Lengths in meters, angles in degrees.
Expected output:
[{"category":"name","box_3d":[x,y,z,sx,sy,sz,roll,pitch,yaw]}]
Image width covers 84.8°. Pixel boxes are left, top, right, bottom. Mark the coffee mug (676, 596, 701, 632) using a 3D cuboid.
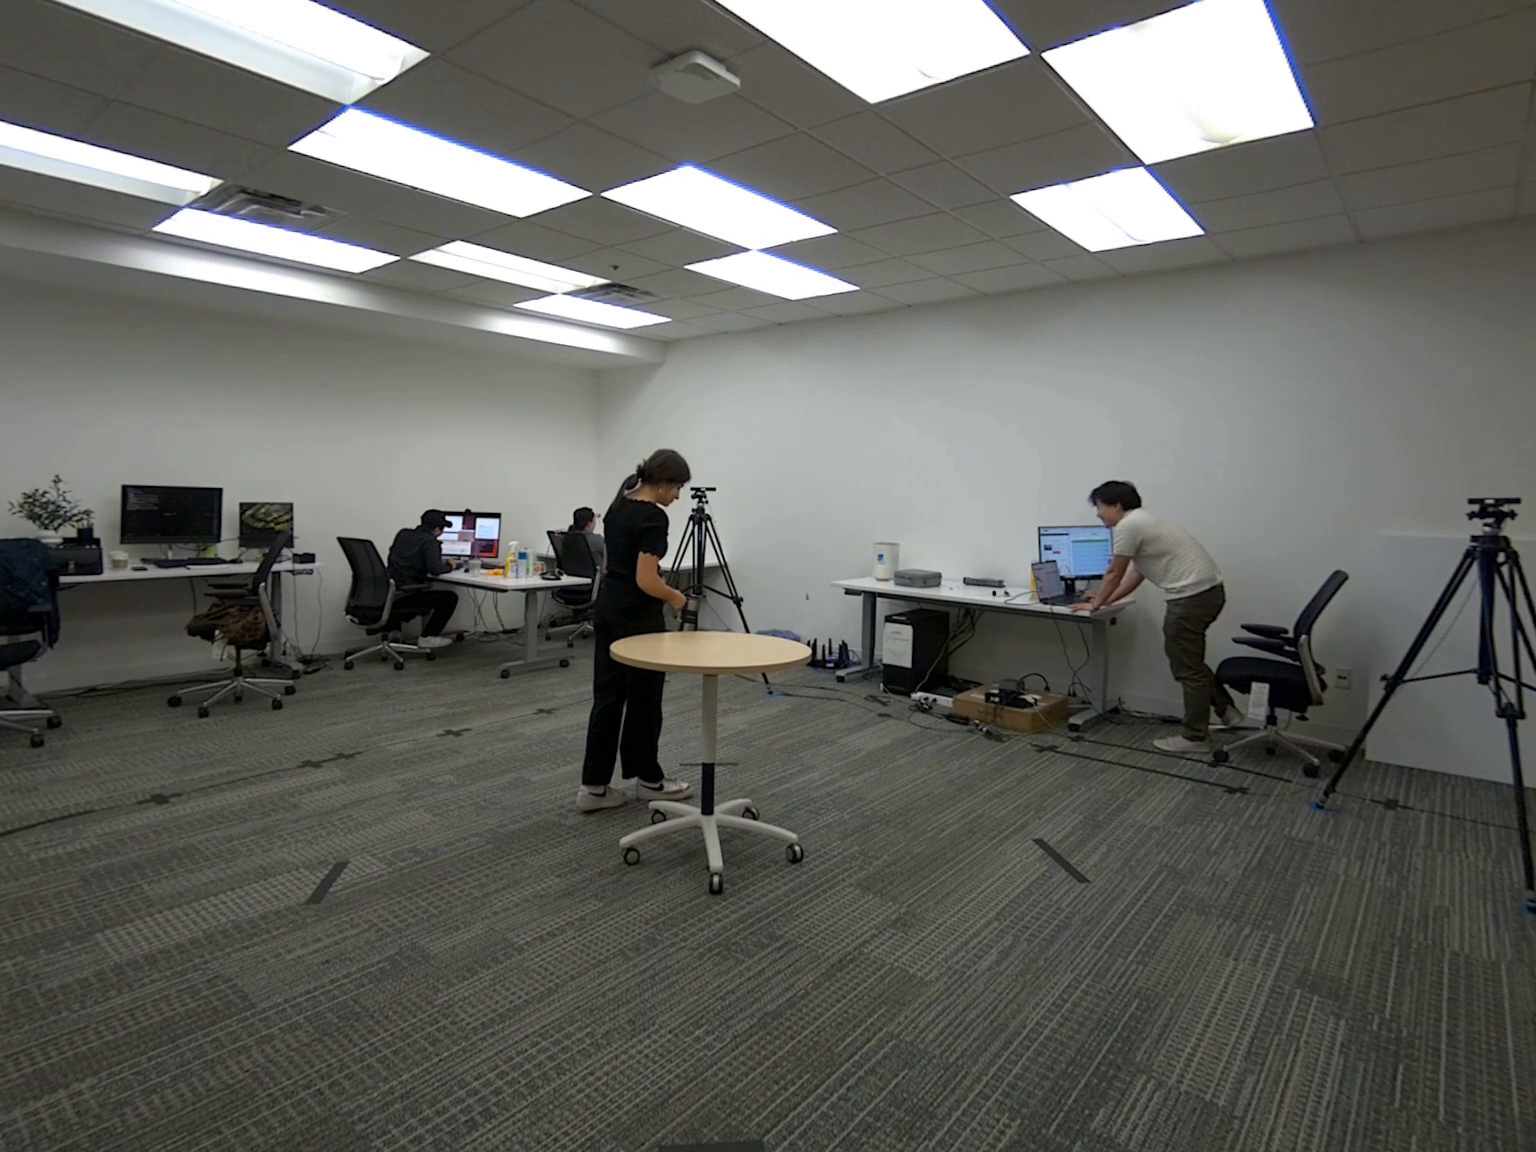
[{"category":"coffee mug","box_3d":[-0.387,0.179,3.811,0.126,0.203,0.085,12,2,36]}]
